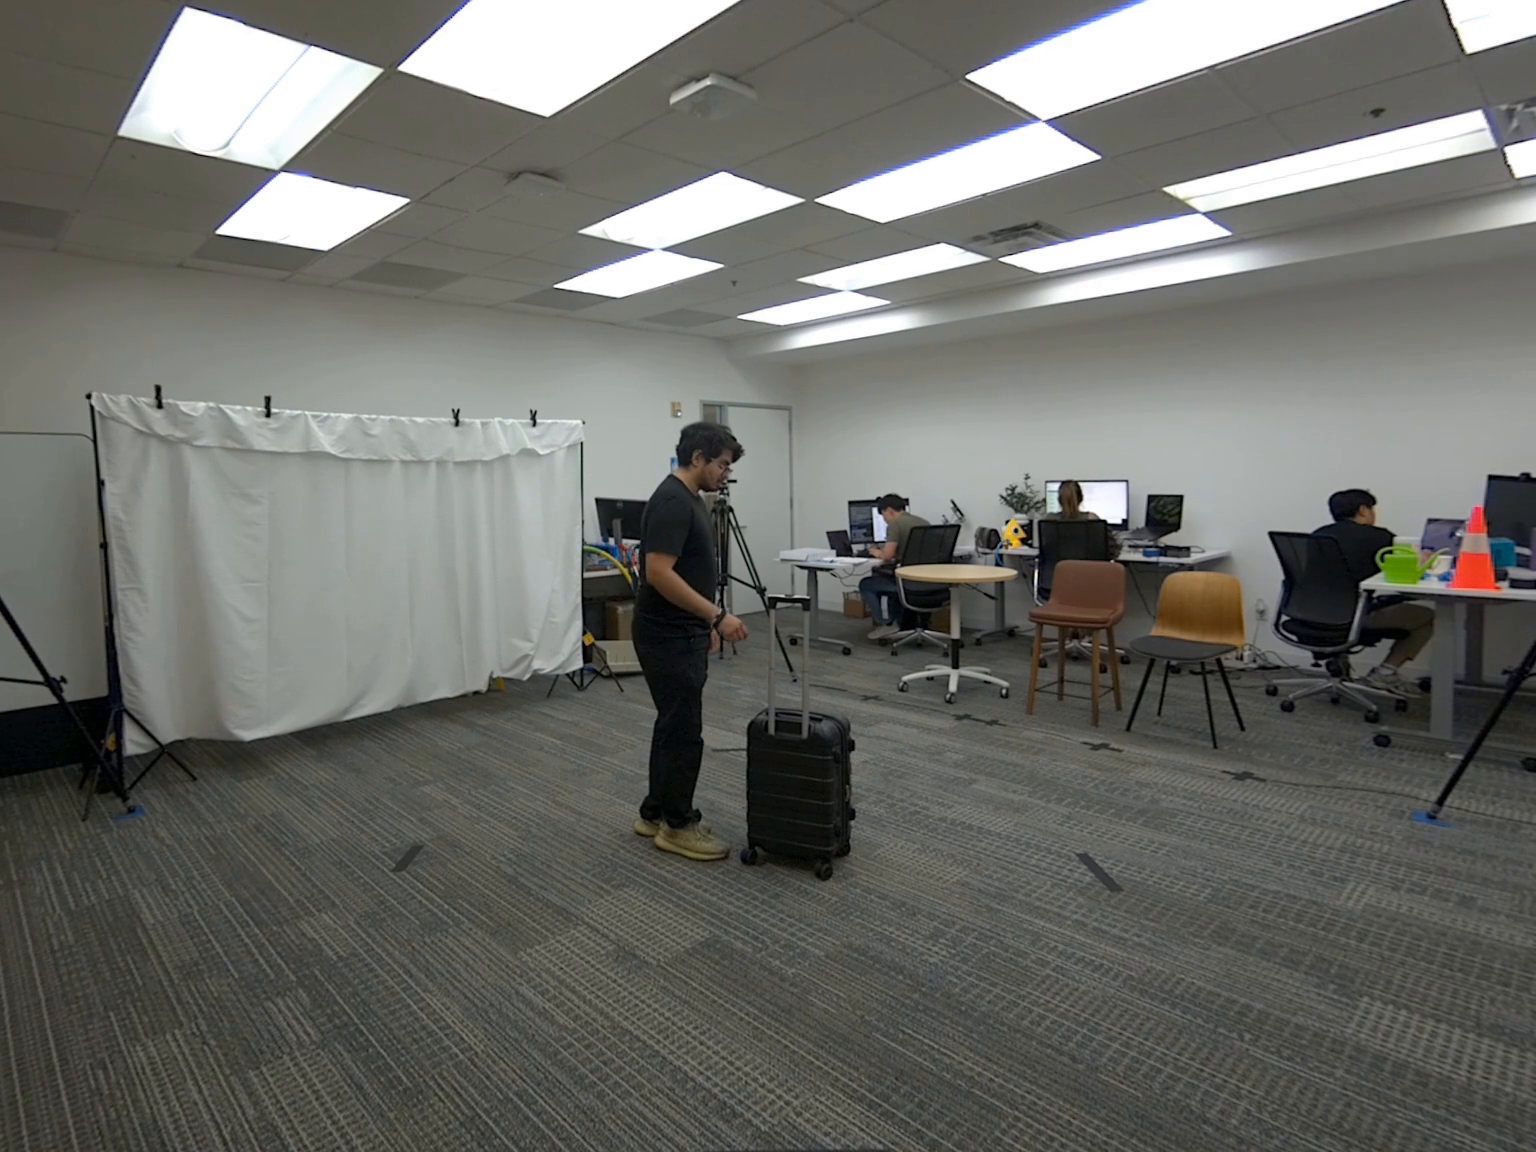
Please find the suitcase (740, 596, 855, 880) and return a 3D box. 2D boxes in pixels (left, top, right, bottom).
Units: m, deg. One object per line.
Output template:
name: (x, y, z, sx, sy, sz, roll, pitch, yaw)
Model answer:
suitcase: (0.117, 0.566, 3.142, 0.392, 0.978, 0.251, 1, 0, 24)
